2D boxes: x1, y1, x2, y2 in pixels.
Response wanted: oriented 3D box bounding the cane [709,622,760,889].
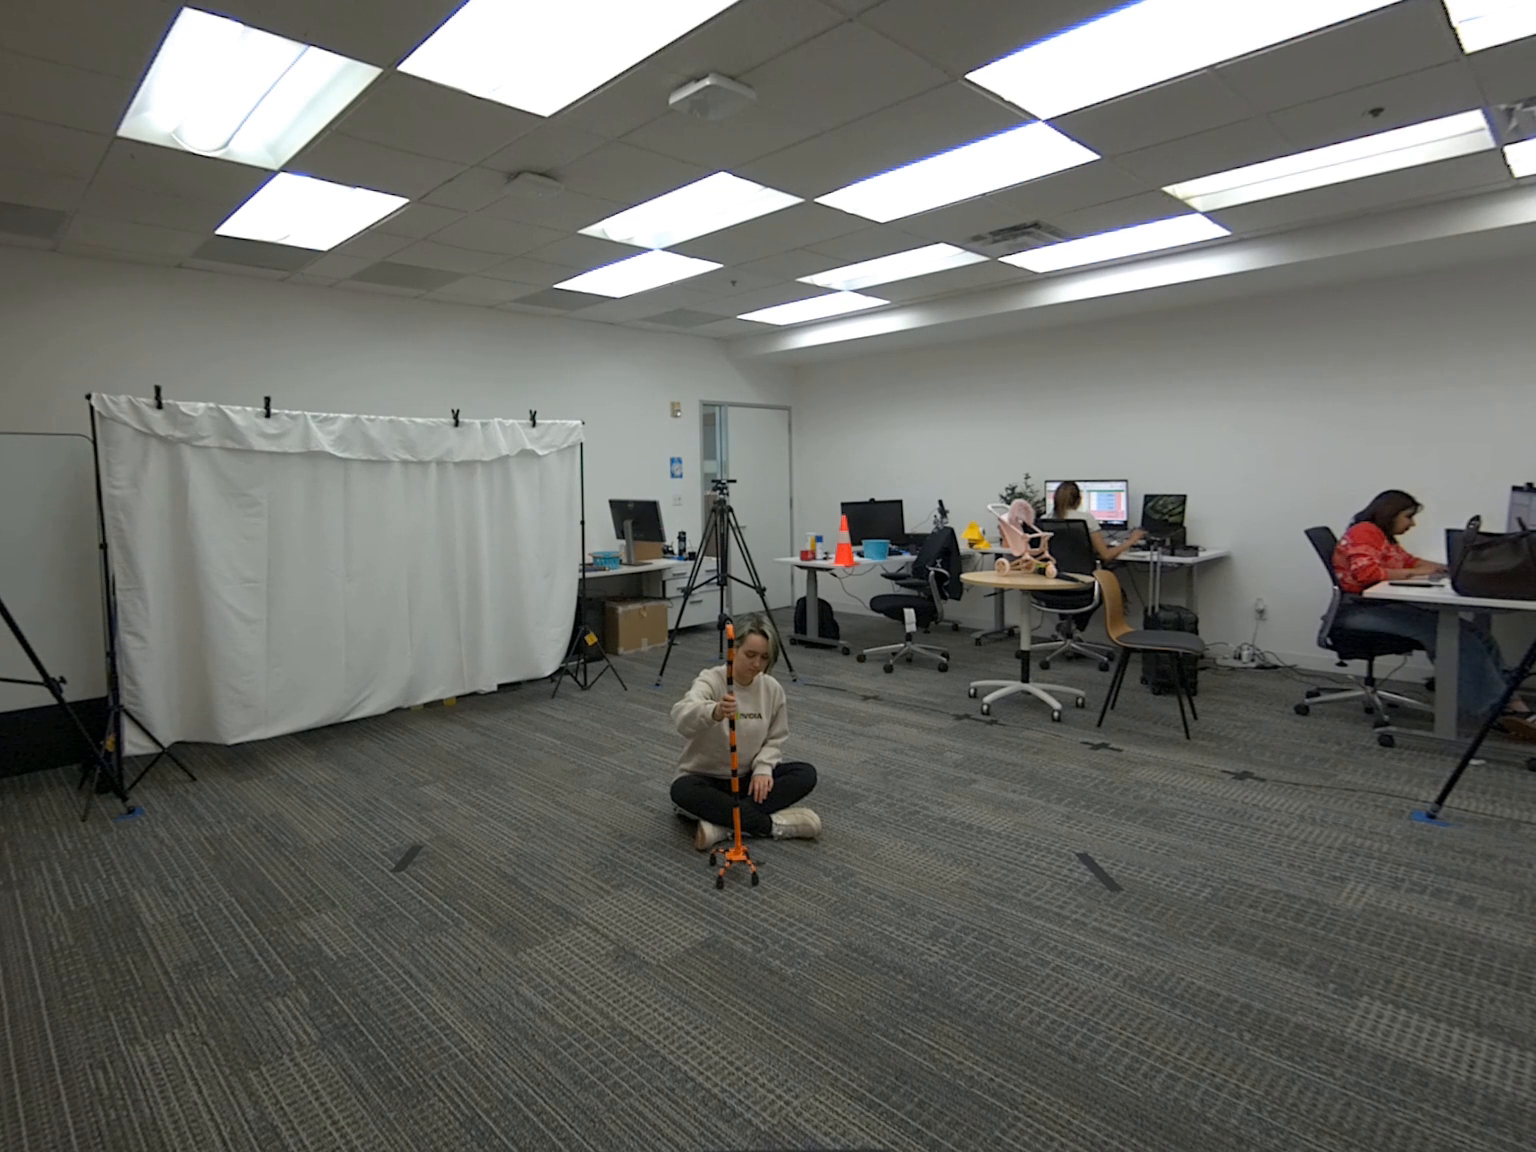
[{"bbox_3d":[-0.141,0.607,2.994,0.150,0.904,0.209,-4,4,-8],"label":"cane"}]
